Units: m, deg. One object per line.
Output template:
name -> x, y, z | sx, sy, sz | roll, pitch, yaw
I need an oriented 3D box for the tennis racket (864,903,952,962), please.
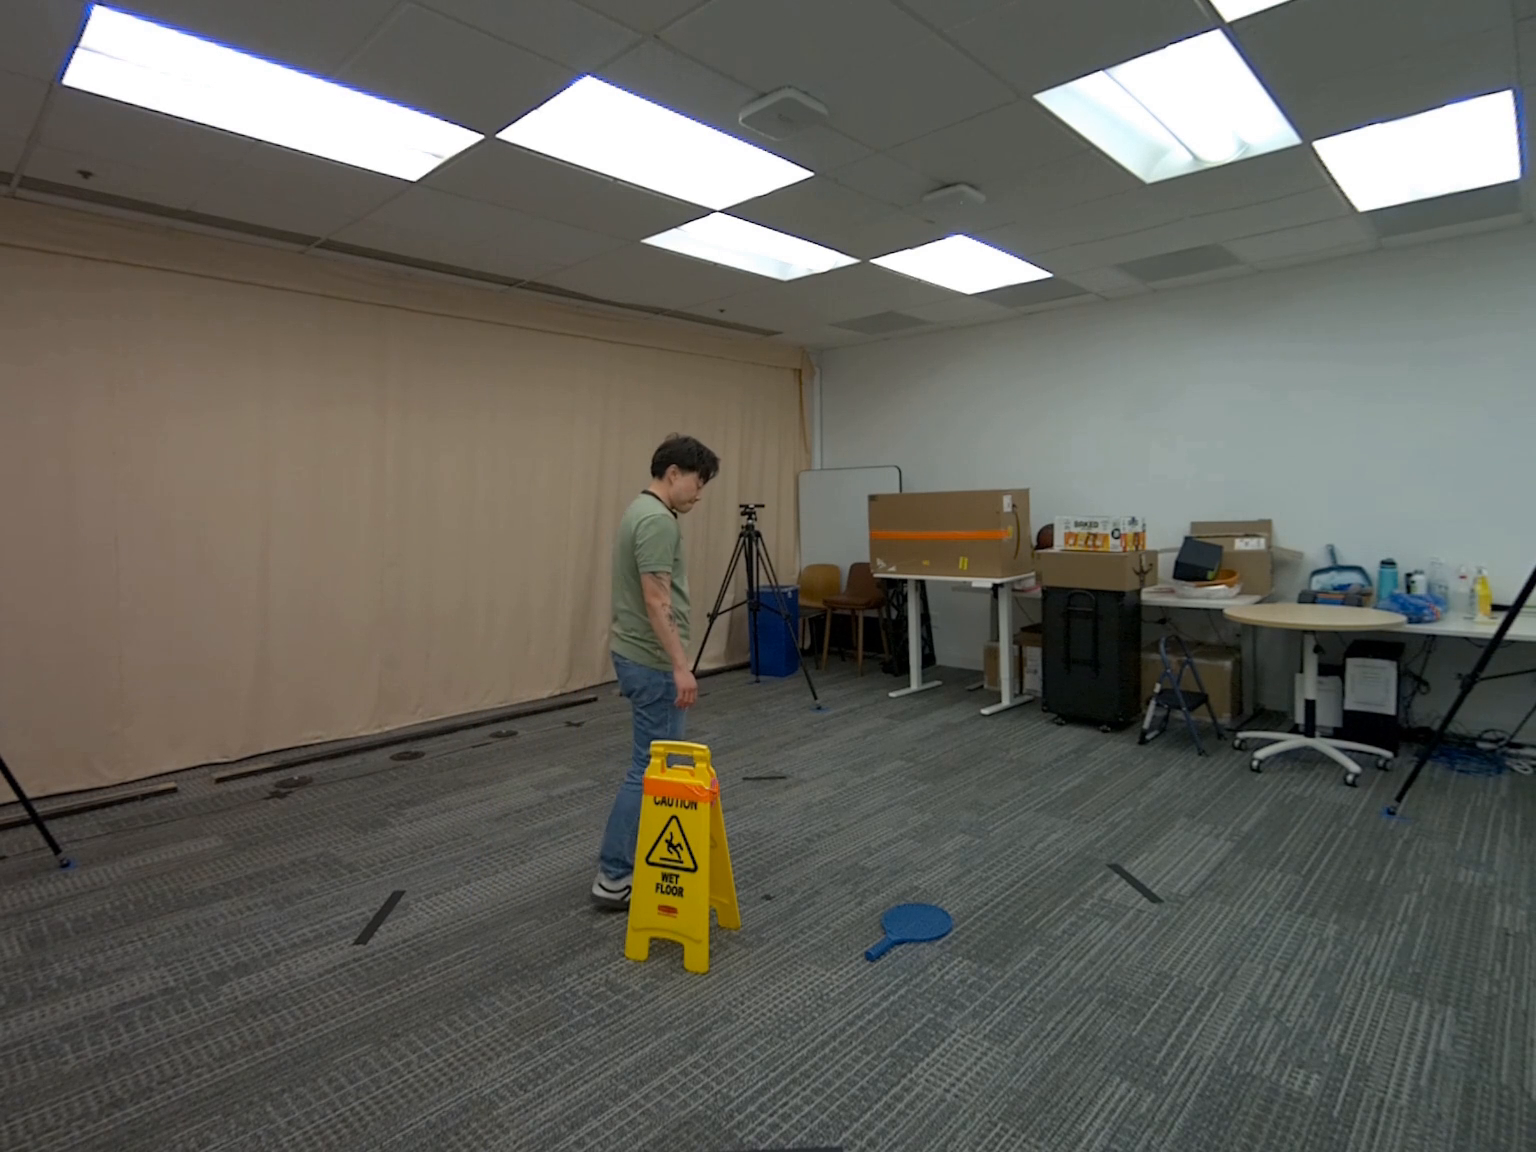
tennis racket -> 0.447, 1.144, 2.717 | 0.221, 0.032, 0.420 | 3, 6, 41
